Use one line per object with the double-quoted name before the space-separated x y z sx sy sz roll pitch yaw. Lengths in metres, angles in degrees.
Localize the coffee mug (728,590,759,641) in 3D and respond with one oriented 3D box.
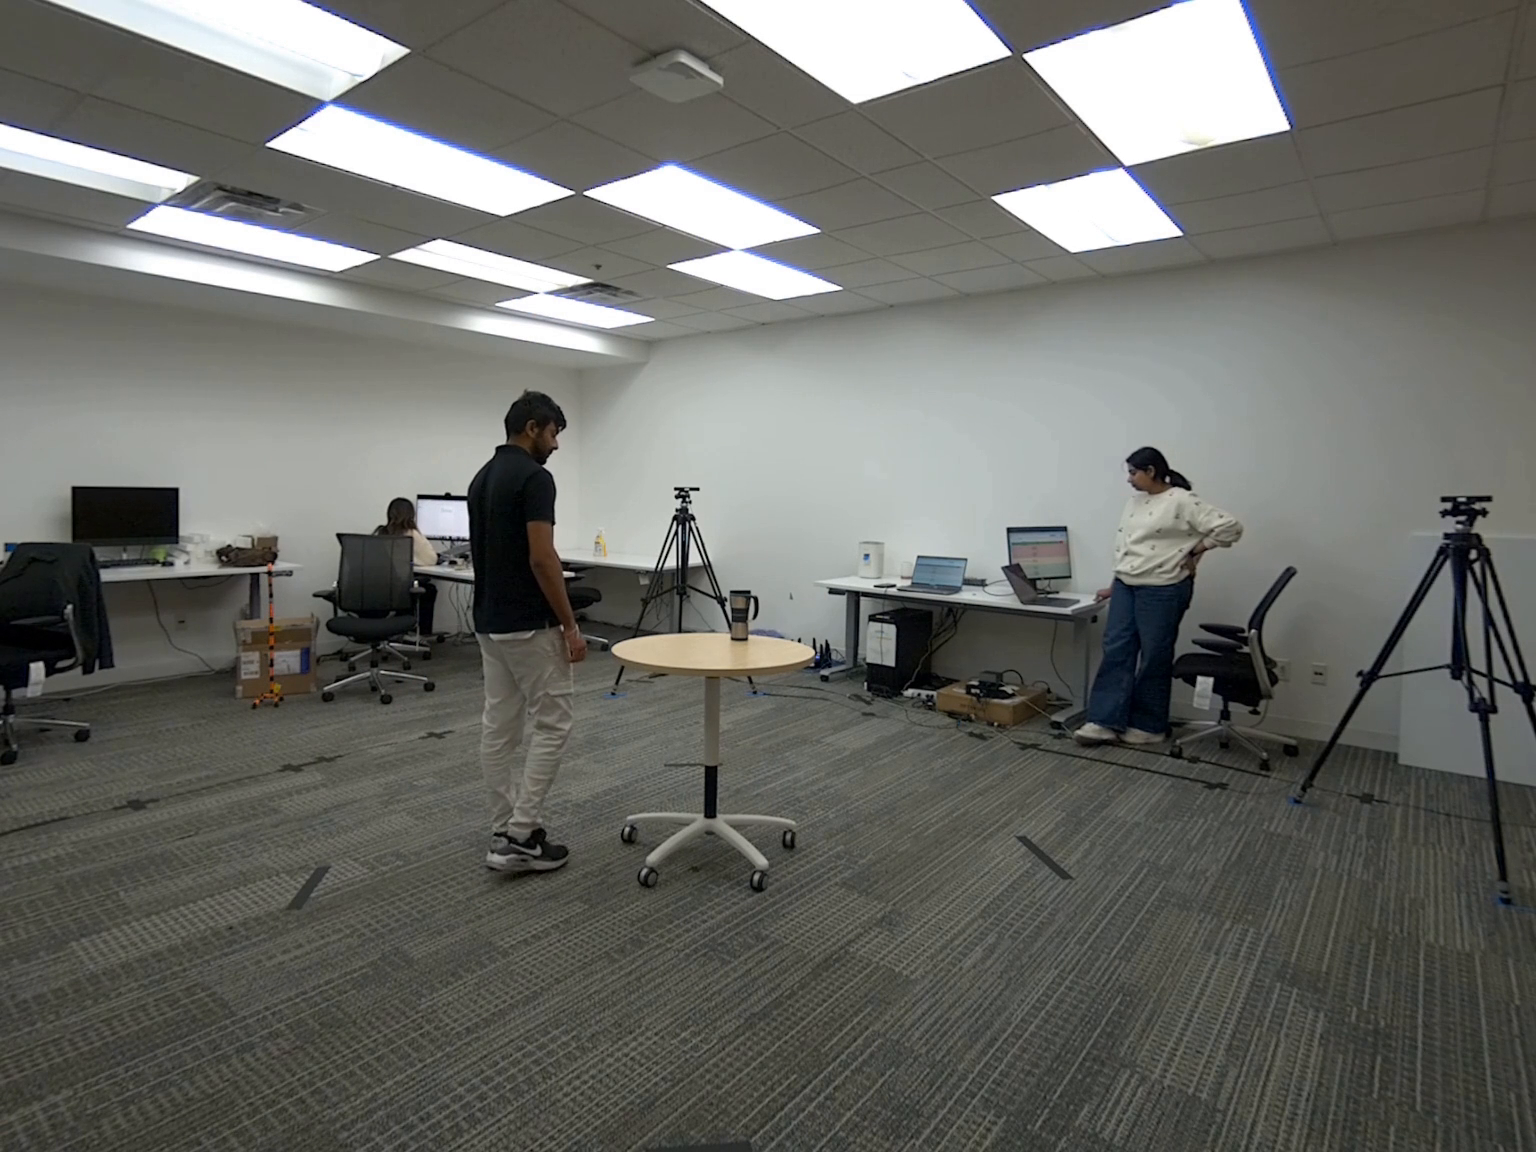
"coffee mug" -0.115 0.158 3.418 0.085 0.203 0.125 2 0 -35
